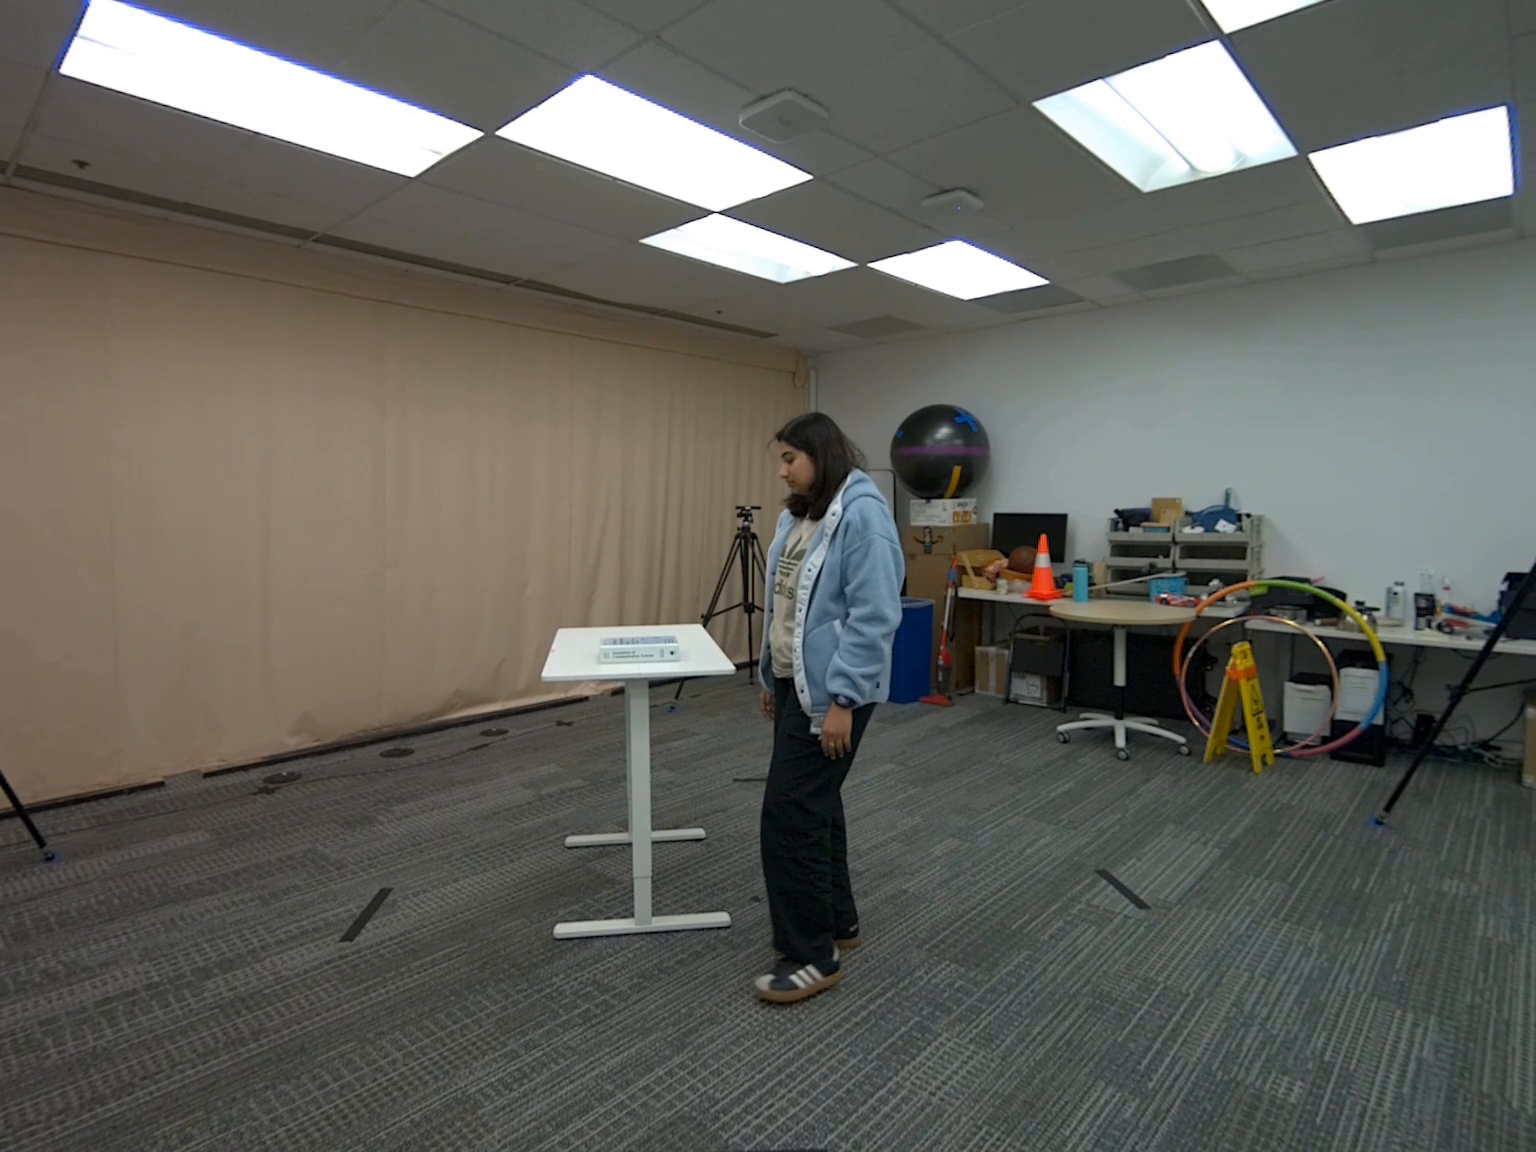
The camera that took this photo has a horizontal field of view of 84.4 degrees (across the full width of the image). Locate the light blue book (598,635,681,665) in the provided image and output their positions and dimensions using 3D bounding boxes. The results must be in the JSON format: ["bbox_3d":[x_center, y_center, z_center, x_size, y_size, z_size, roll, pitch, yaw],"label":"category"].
[{"bbox_3d":[-0.440,0.252,2.850,0.260,0.059,0.193,-1,5,-5],"label":"light blue book"}]
